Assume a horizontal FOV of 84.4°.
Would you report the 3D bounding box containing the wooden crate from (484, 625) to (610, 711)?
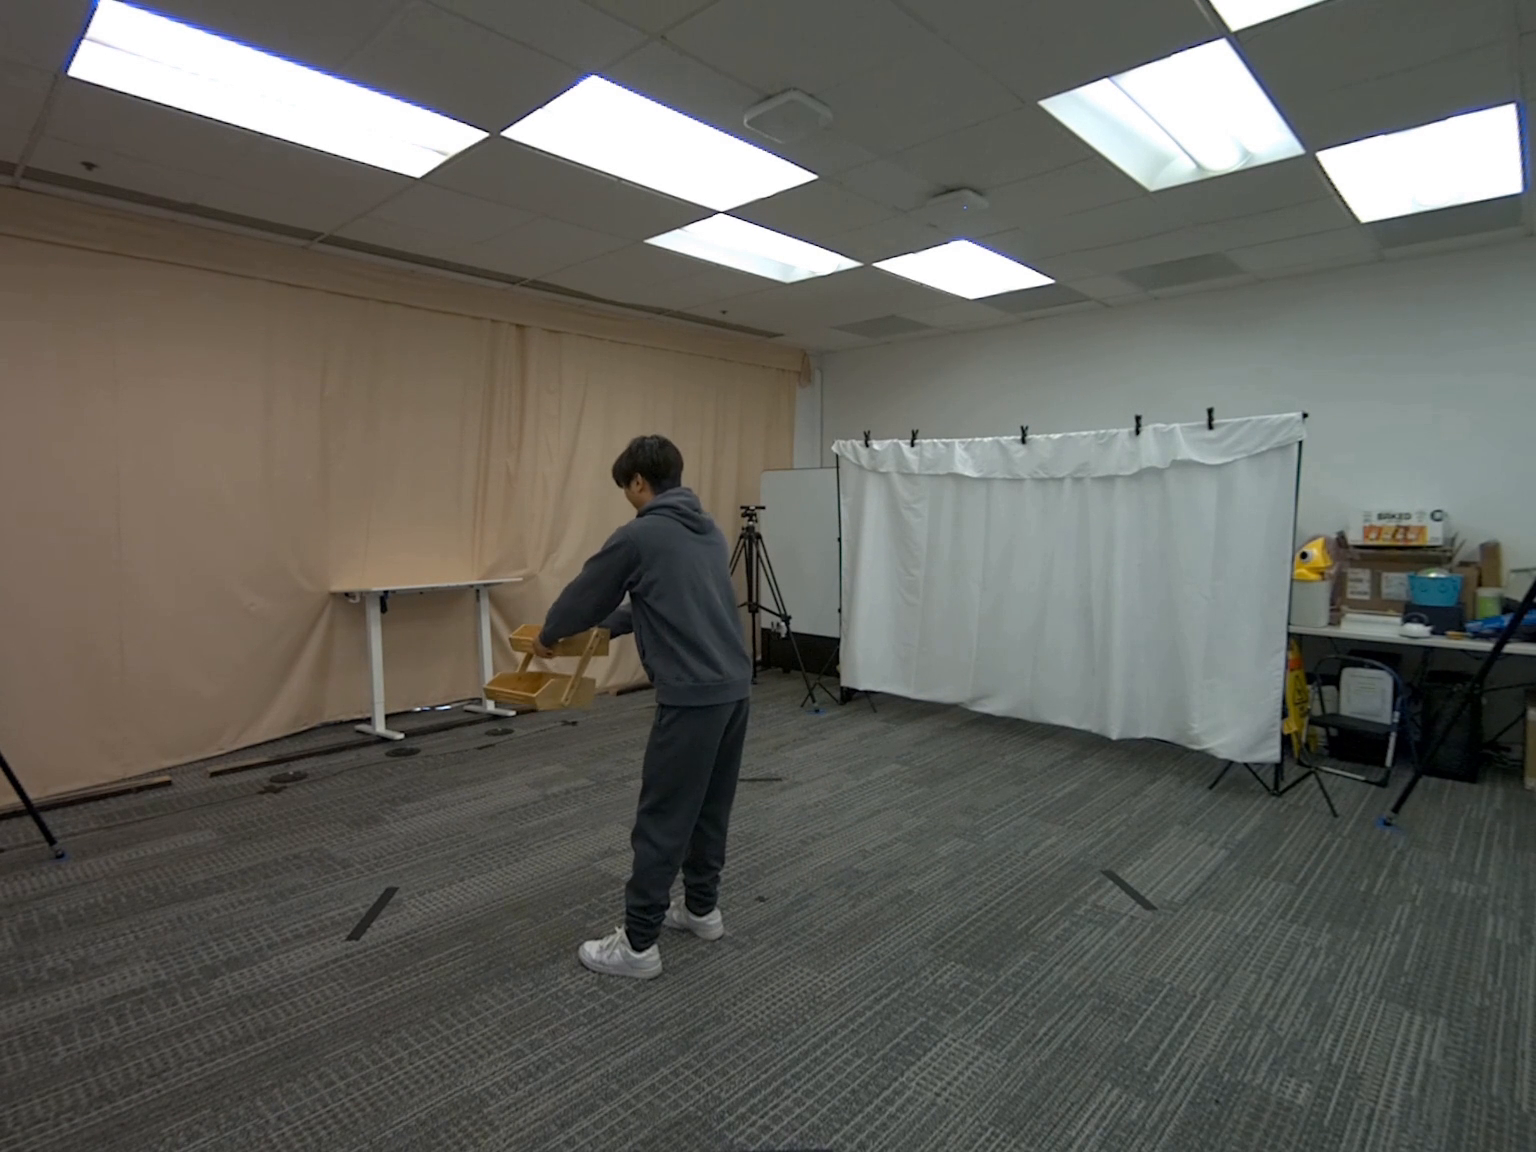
[{"bbox_3d":[-0.762,0.304,2.910,0.335,0.274,0.292,0,-4,40],"label":"wooden crate"}]
